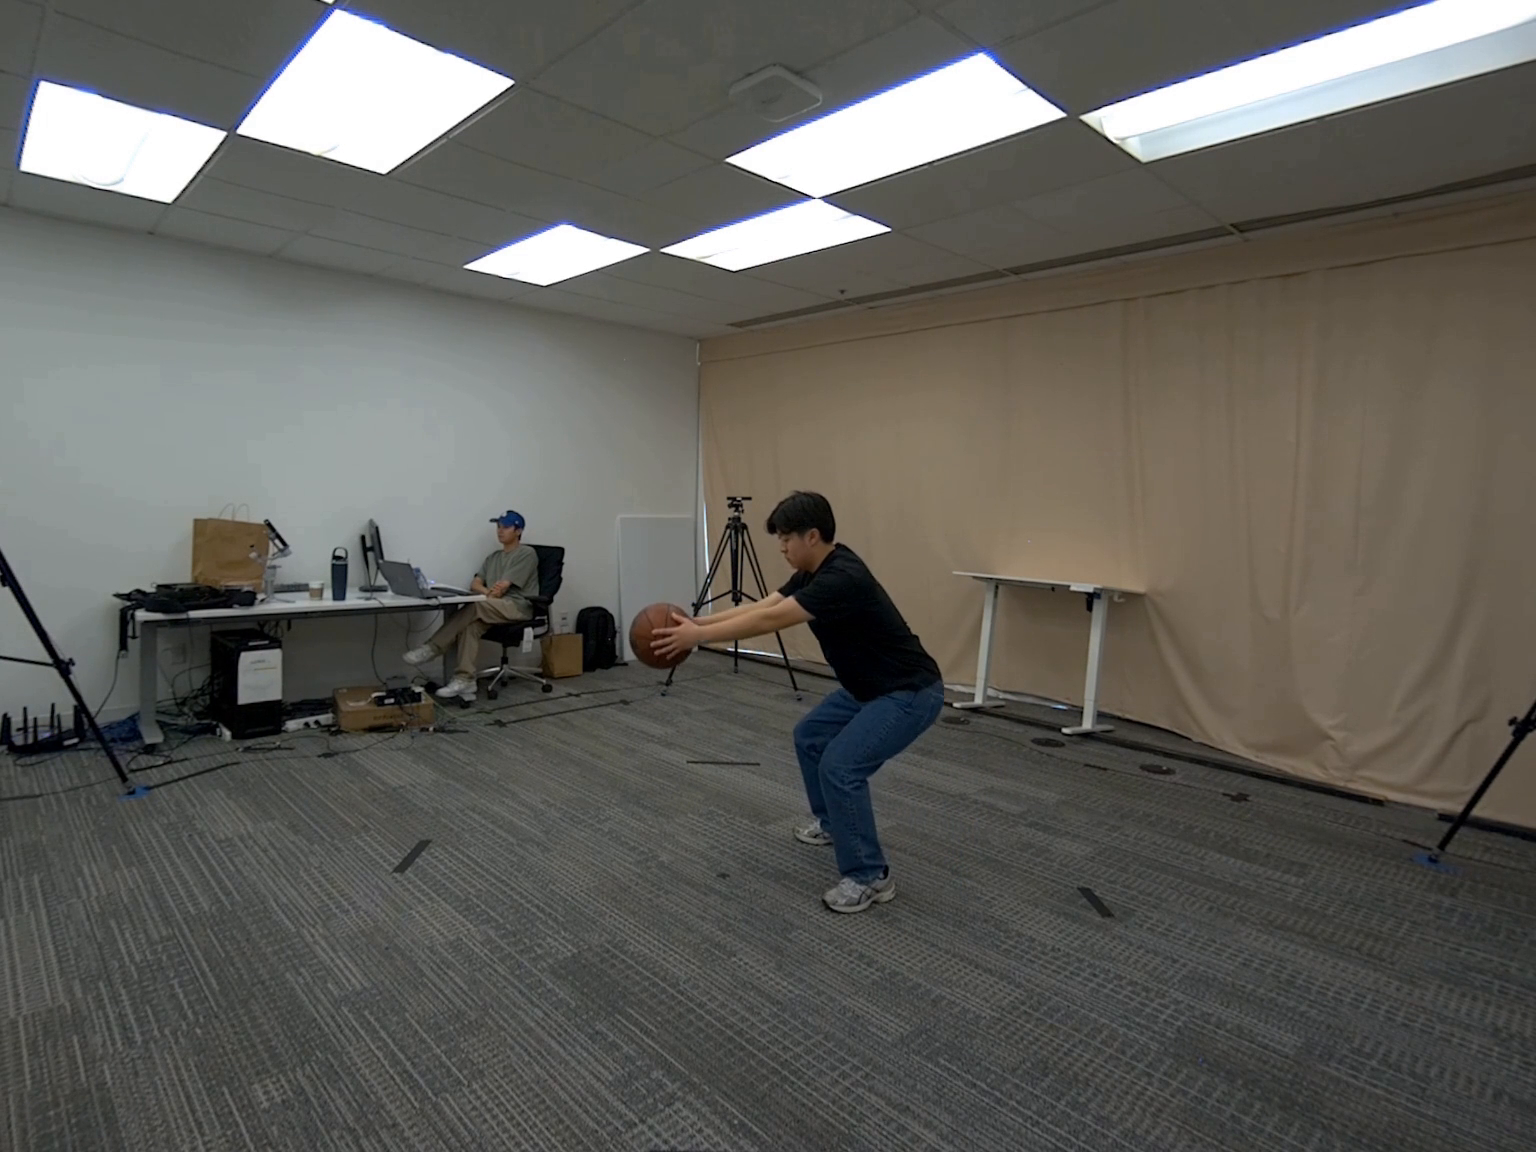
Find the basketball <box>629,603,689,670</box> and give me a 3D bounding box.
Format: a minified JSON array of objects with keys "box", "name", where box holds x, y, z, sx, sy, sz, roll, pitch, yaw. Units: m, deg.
[{"box":[-0.381,0.213,3.040,0.236,0.235,0.237,1,4,-1],"name":"basketball"}]
